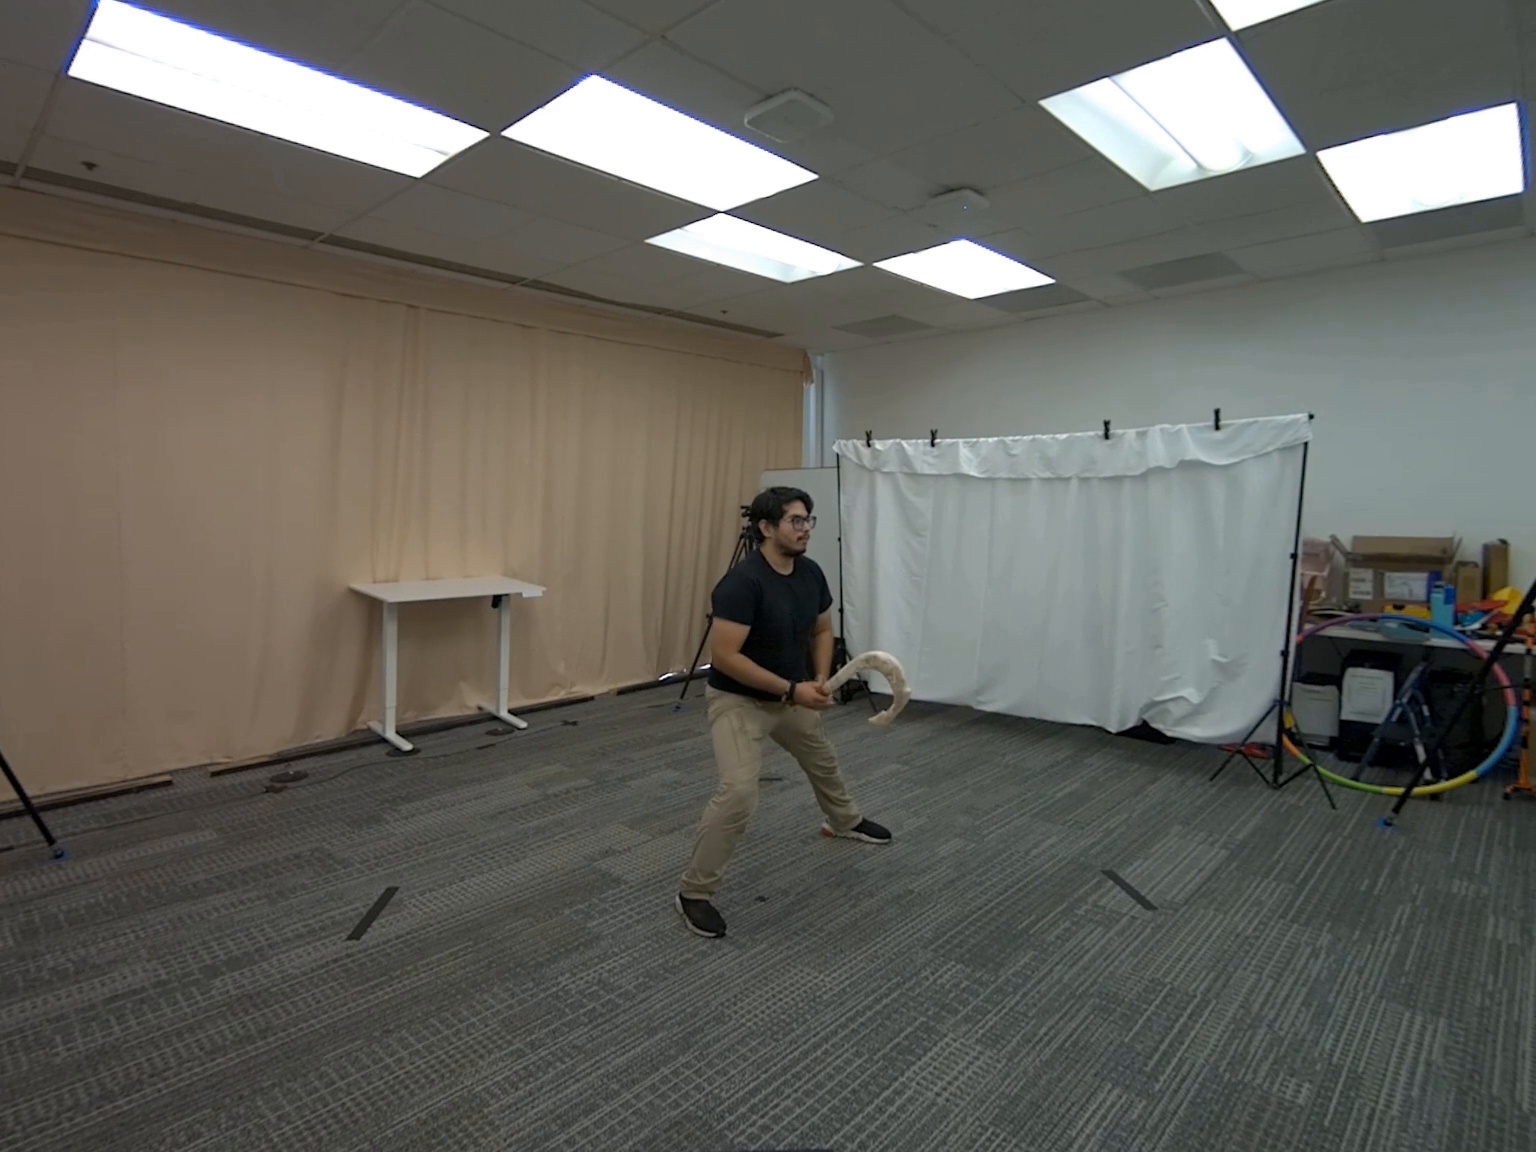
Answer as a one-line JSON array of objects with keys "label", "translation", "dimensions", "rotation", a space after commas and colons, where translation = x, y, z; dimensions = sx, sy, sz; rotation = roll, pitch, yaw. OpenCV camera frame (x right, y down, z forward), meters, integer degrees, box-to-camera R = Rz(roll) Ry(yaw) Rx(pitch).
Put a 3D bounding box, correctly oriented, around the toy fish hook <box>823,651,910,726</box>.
[{"label": "toy fish hook", "translation": [0.249, 0.405, 2.748], "dimensions": [0.047, 0.227, 0.516], "rotation": [-5, -17, -46]}]
